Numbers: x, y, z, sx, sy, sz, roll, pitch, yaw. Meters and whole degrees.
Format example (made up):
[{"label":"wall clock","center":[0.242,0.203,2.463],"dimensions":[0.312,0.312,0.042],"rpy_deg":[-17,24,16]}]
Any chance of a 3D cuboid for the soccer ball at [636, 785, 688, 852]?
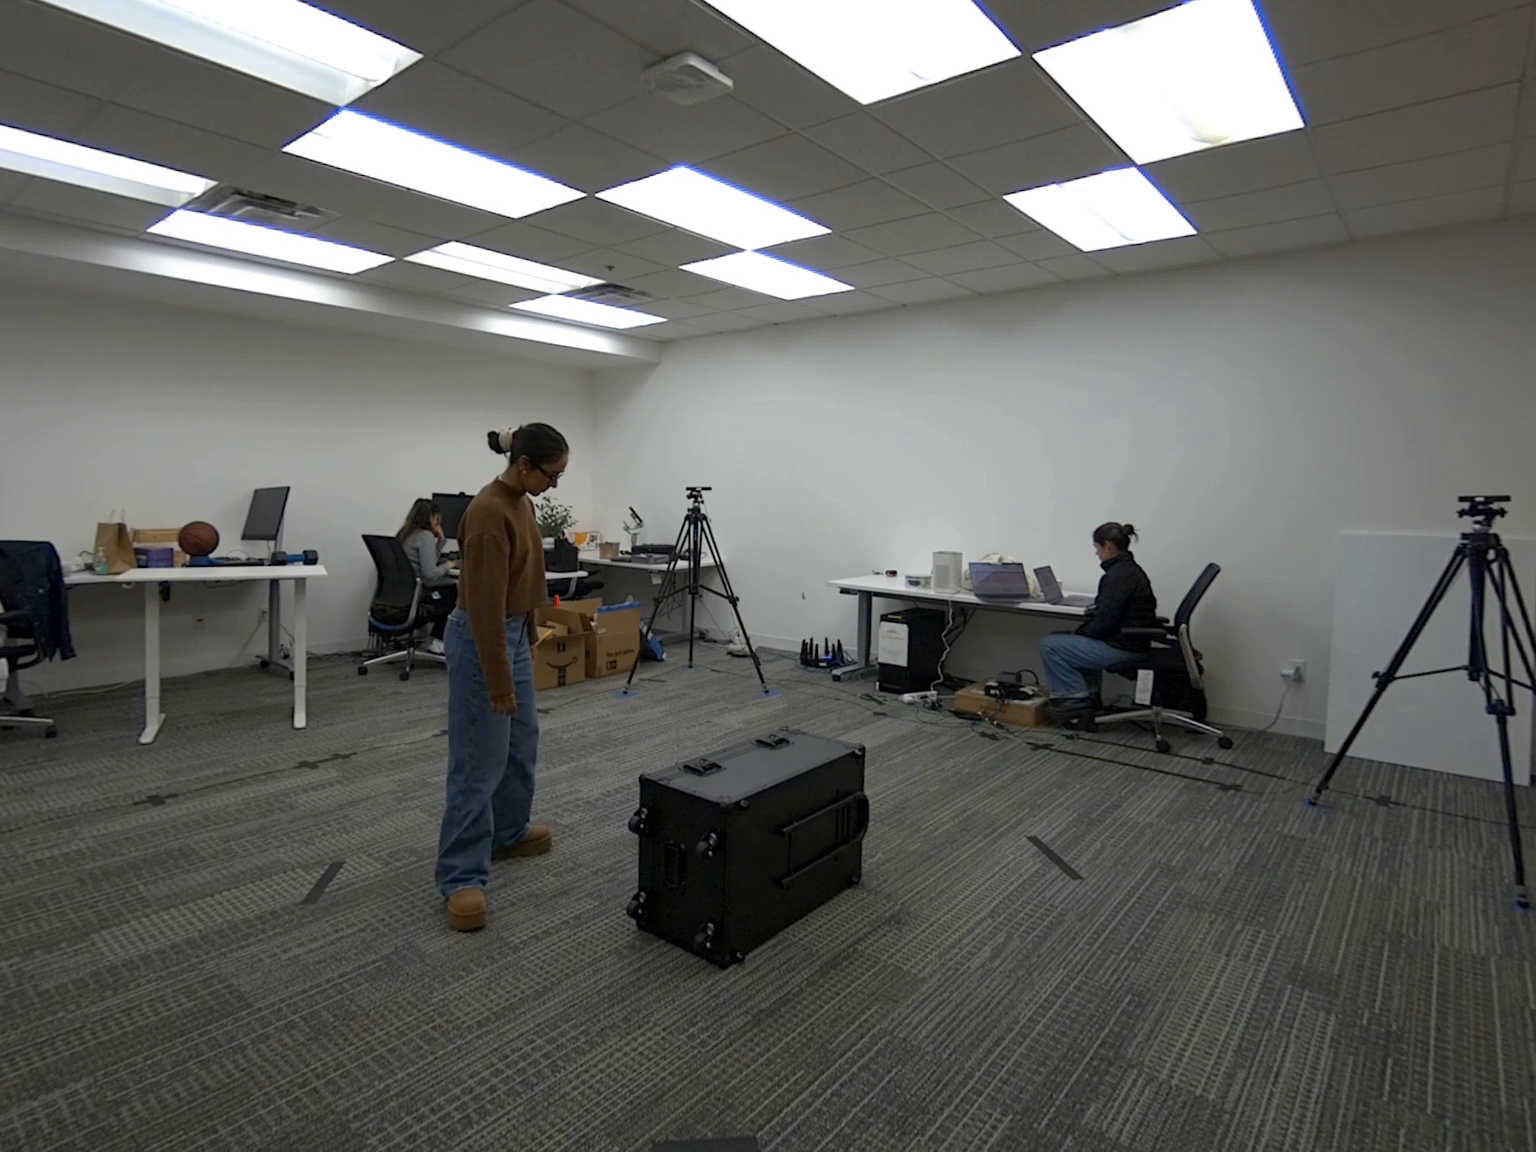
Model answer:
[{"label":"soccer ball","center":[-0.414,0.945,3.298],"dimensions":[0.187,0.187,0.188],"rpy_deg":[1,4,-2]}]
